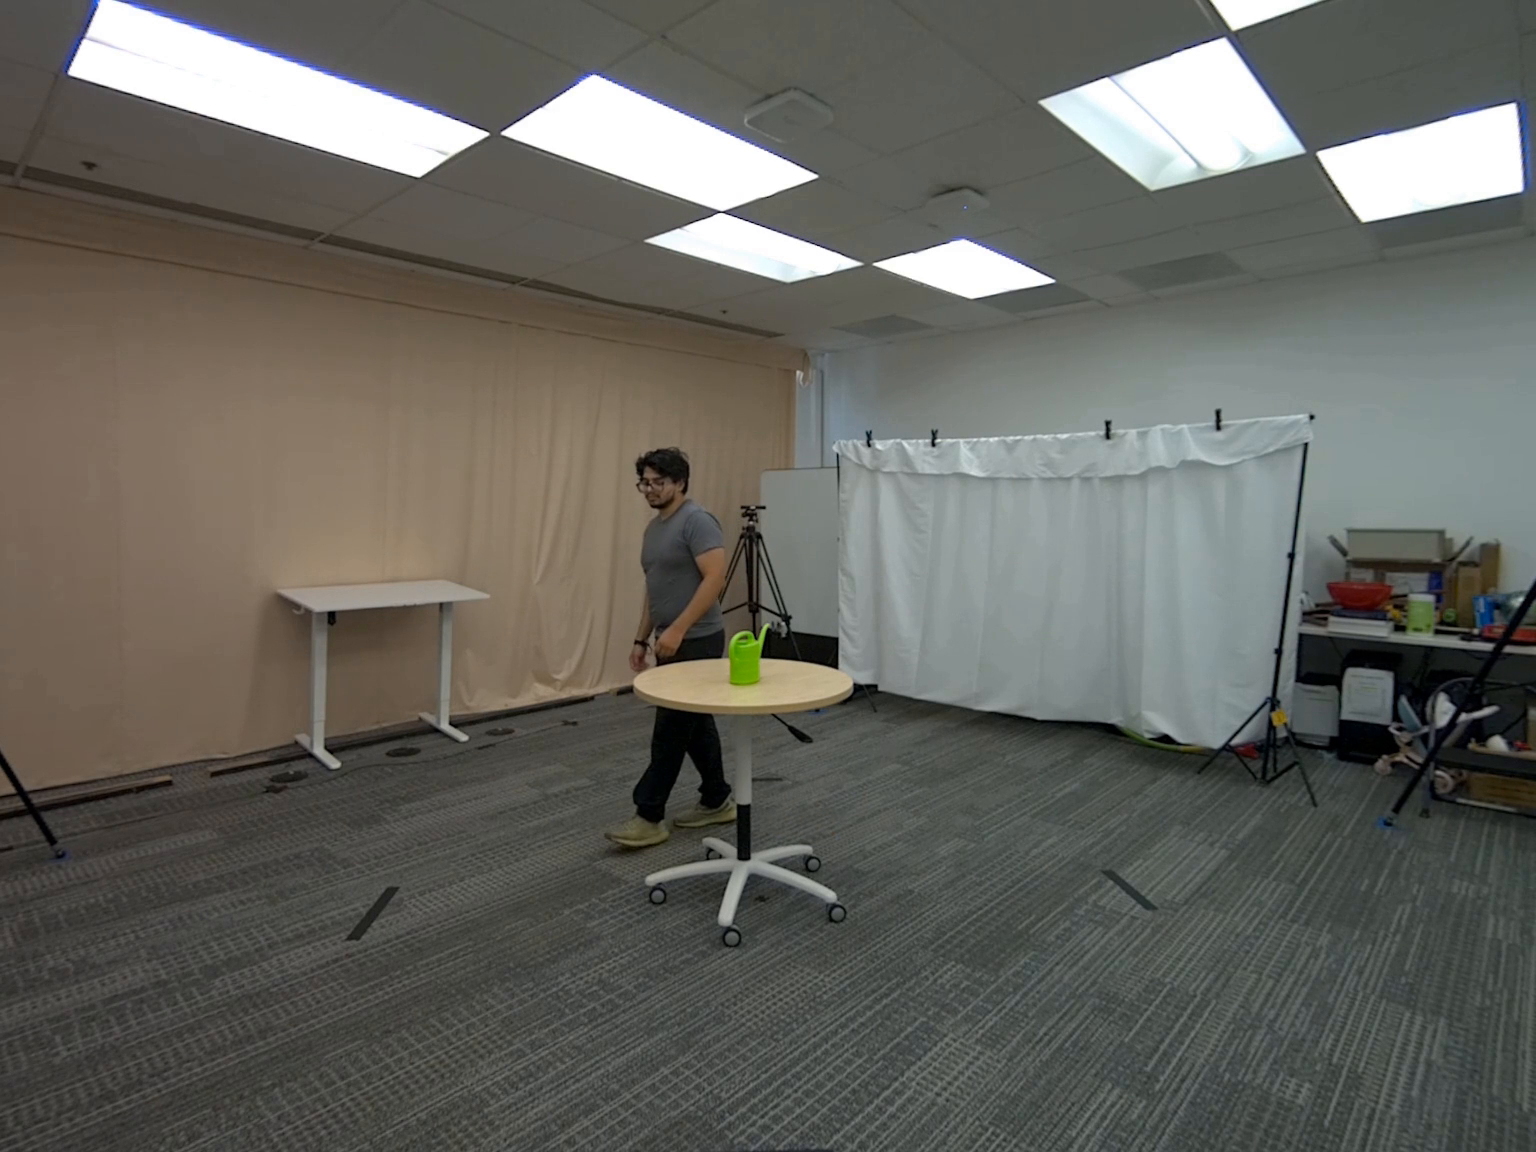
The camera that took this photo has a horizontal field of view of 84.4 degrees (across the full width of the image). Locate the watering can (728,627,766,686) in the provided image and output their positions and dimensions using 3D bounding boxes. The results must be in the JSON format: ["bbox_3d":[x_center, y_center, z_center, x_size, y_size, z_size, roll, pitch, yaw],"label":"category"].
[{"bbox_3d":[-0.046,0.278,2.936,0.101,0.176,0.270,6,8,41],"label":"watering can"}]
